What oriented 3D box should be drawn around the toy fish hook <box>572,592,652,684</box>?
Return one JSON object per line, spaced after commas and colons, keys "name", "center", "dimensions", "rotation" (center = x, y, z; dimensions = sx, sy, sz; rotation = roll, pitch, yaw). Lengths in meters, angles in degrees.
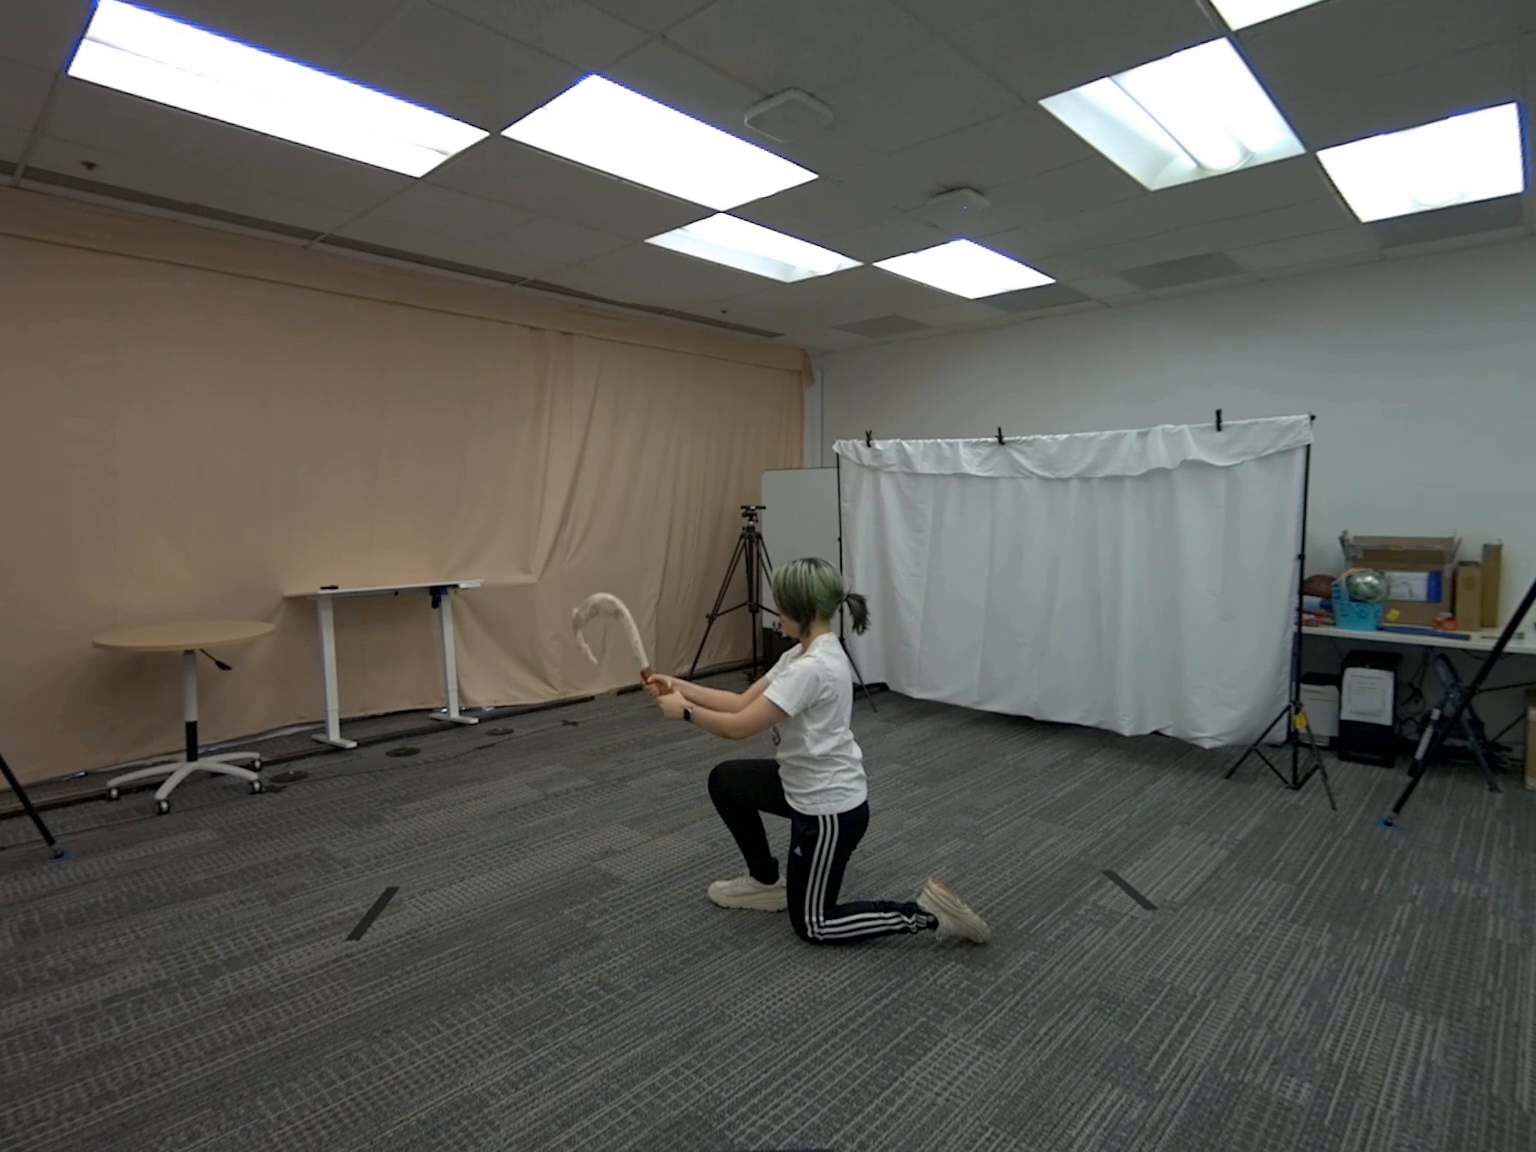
{"name": "toy fish hook", "center": [-0.459, 0.298, 2.799], "dimensions": [0.226, 0.512, 0.047], "rotation": [-37, -9, 17]}
